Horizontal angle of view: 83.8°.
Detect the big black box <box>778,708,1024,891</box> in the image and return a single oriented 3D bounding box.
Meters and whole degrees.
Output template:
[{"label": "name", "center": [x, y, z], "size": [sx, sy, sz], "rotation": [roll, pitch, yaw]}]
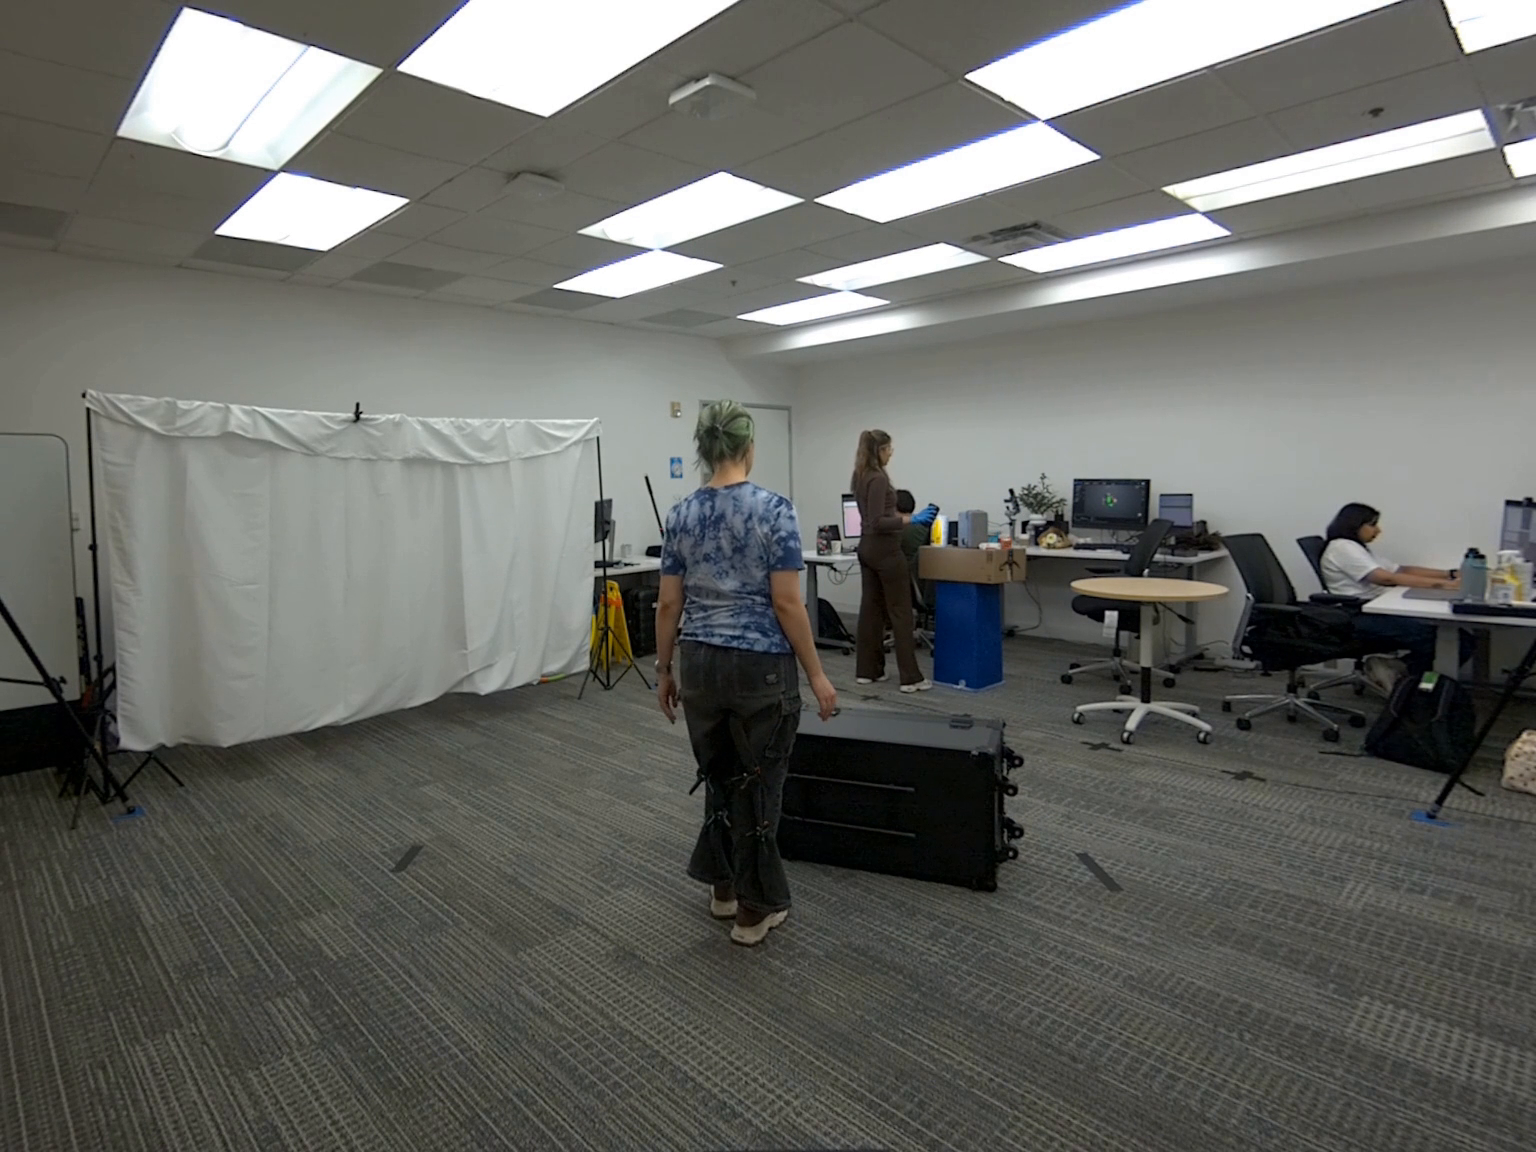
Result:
[{"label": "big black box", "center": [0.472, 0.778, 3.116], "size": [0.880, 0.518, 0.390], "rotation": [0, 7, 23]}]
